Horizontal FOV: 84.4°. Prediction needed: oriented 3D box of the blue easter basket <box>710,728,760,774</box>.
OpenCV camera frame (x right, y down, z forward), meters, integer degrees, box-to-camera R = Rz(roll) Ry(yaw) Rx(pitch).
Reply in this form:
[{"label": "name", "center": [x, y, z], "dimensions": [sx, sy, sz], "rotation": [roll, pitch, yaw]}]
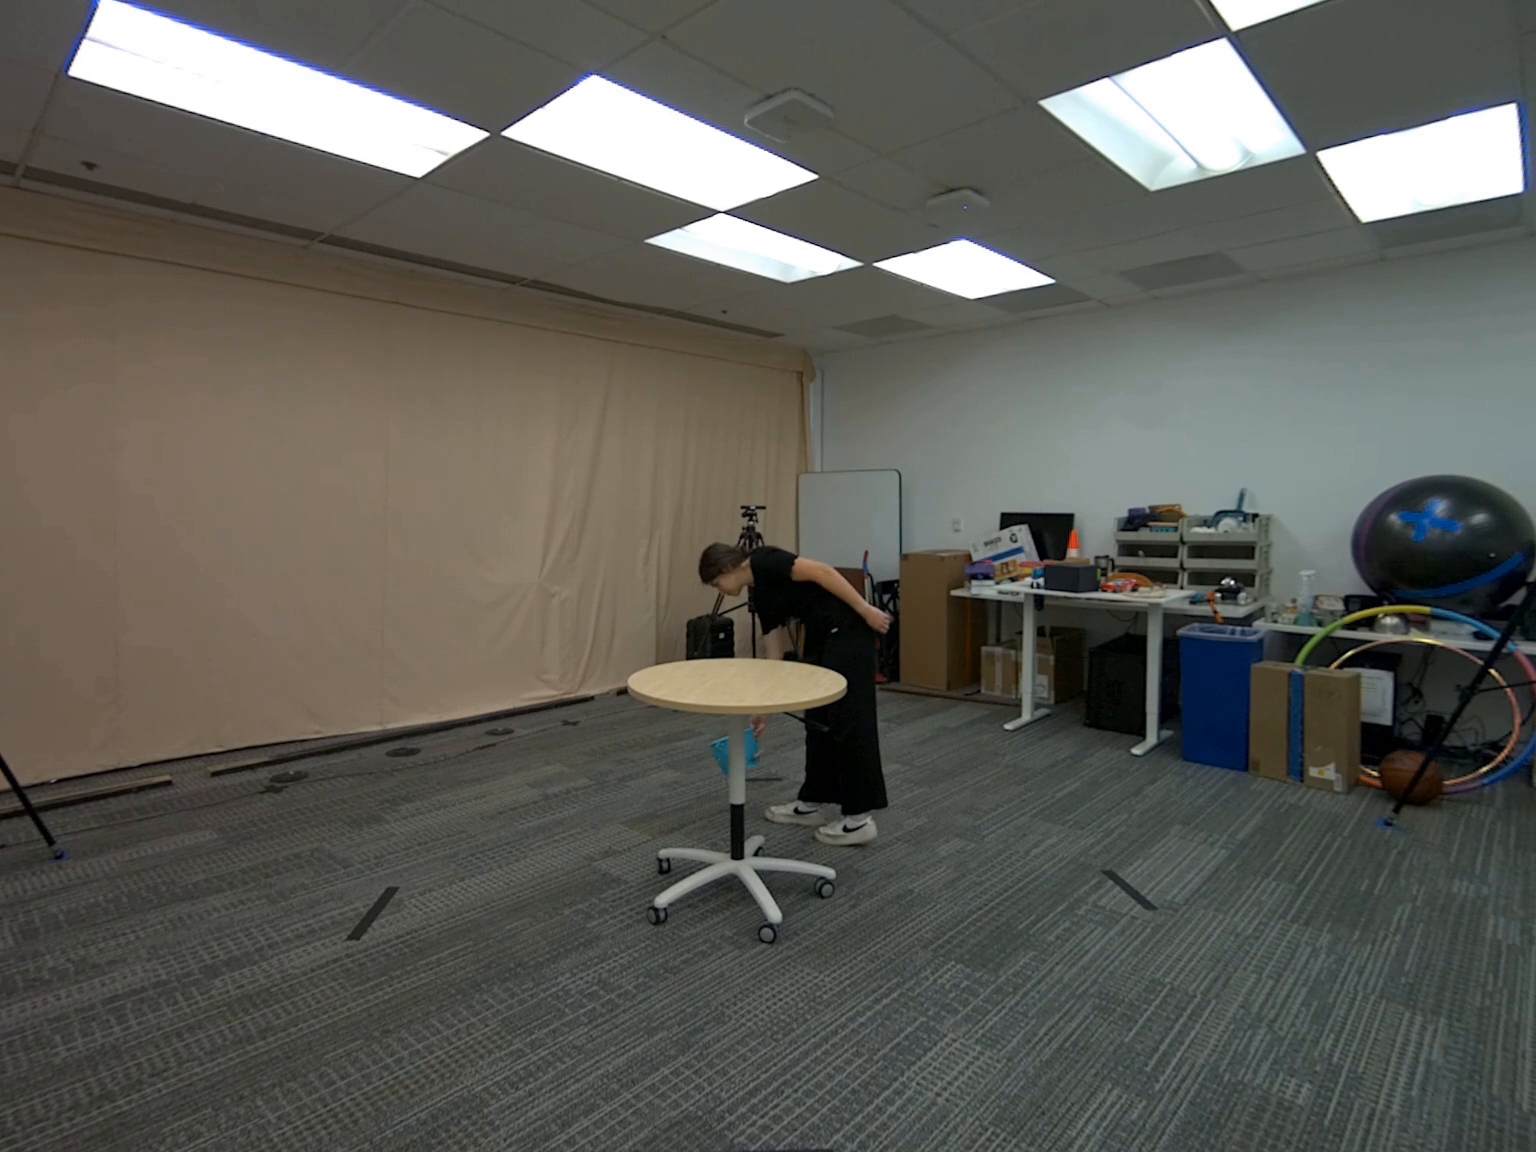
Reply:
[{"label": "blue easter basket", "center": [-0.134, 0.790, 3.799], "dimensions": [0.243, 0.157, 0.242], "rotation": [-19, -7, -5]}]
